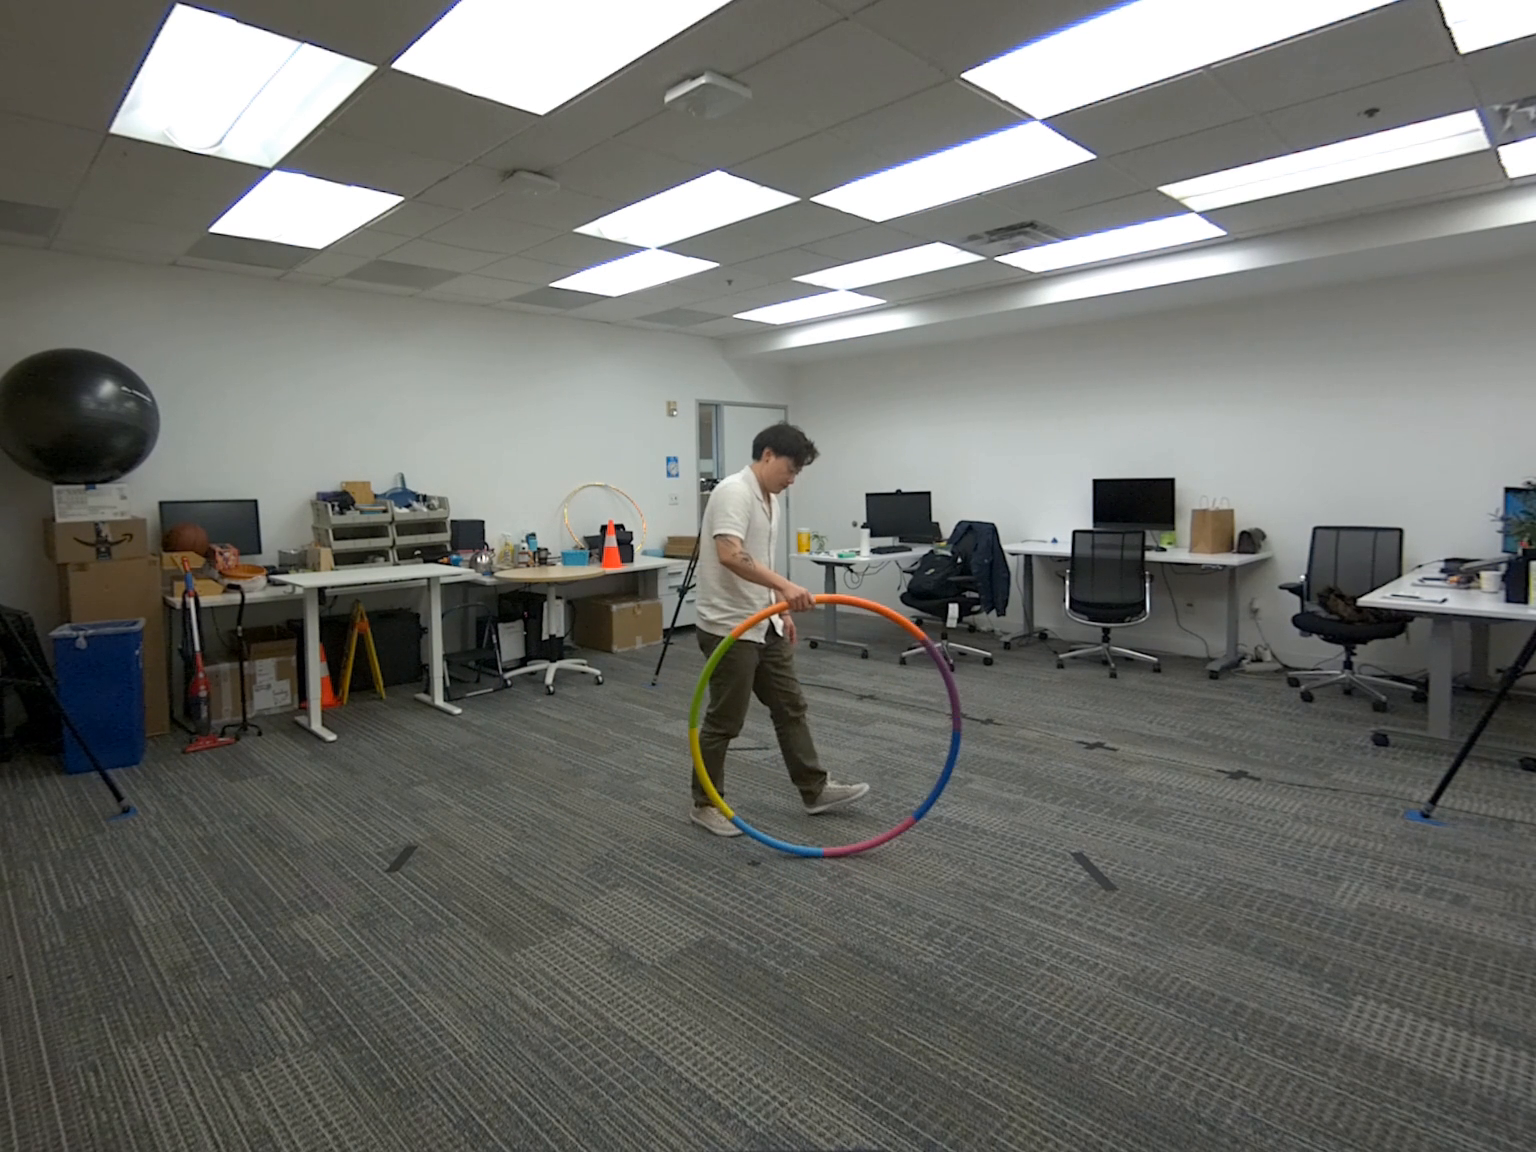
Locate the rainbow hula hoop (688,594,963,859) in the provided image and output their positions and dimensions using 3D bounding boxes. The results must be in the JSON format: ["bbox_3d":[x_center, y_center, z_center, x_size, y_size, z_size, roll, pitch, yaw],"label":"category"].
[{"bbox_3d":[0.203,0.551,3.095,0.979,0.971,0.036,-1,8,1],"label":"rainbow hula hoop"}]
